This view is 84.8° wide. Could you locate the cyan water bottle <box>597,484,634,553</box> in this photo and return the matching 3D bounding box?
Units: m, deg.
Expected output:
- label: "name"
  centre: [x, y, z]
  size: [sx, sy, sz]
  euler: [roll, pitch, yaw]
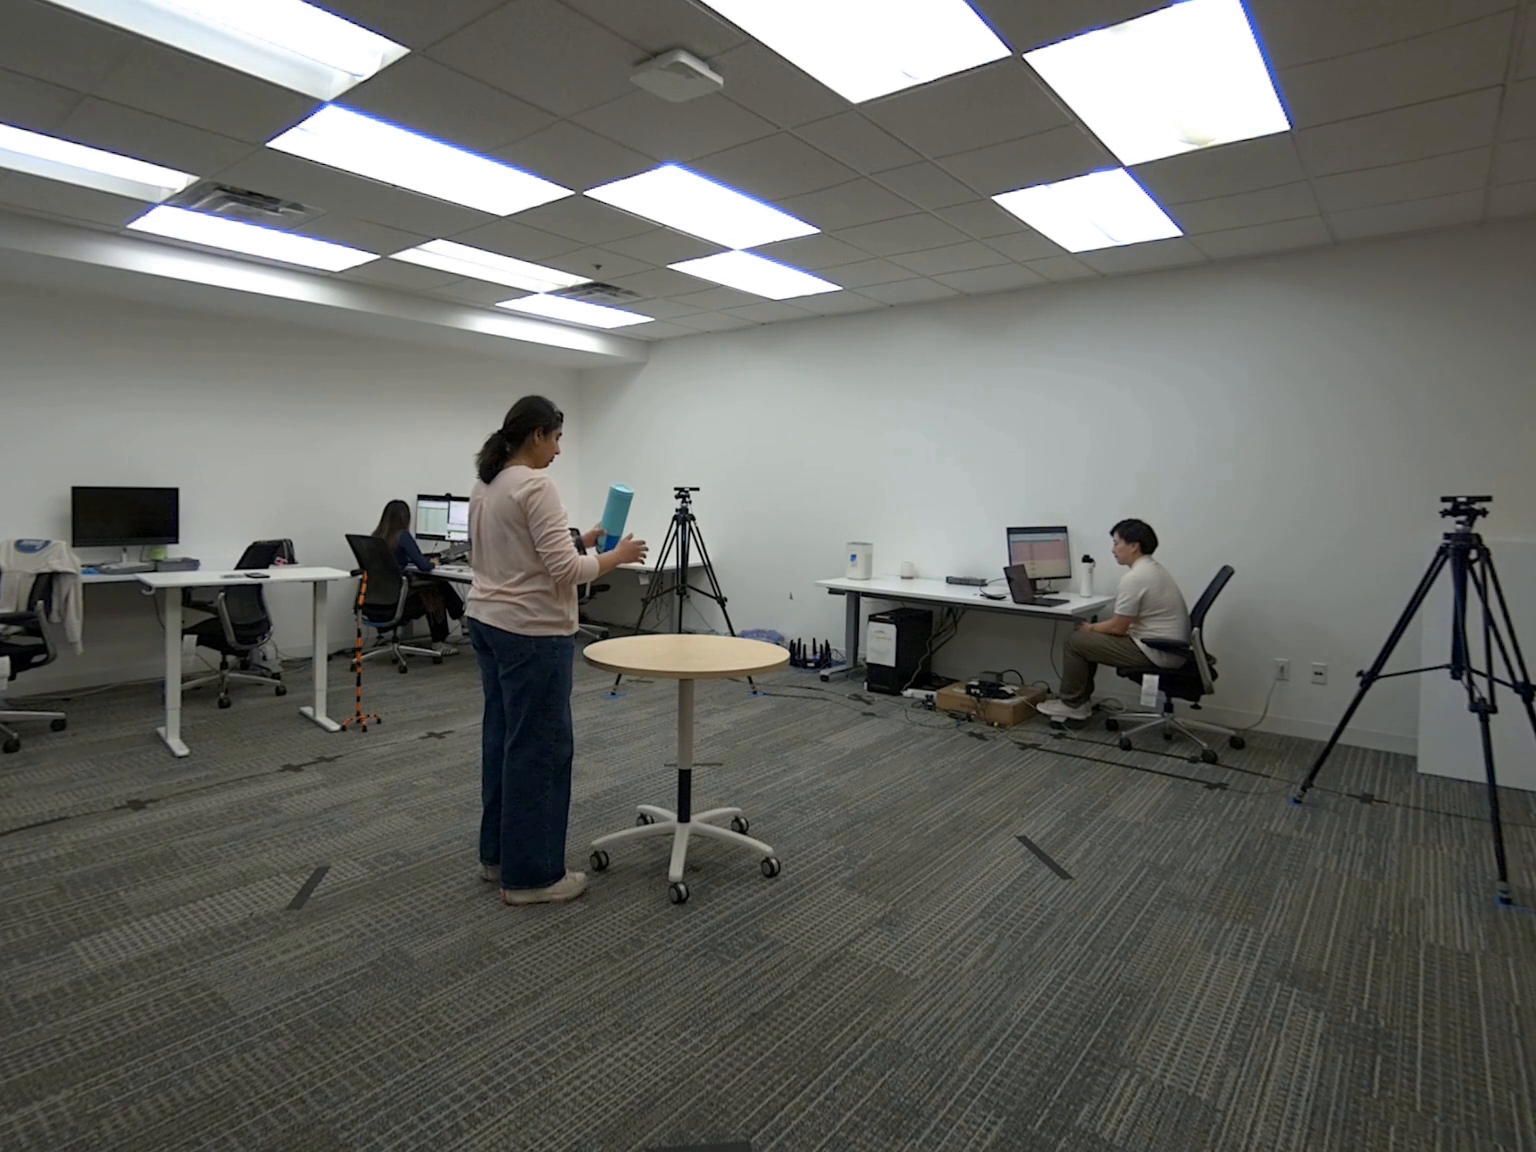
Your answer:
- label: "cyan water bottle"
  centre: [-0.596, -0.198, 3.171]
  size: [0.092, 0.281, 0.094]
  euler: [15, 16, -6]
